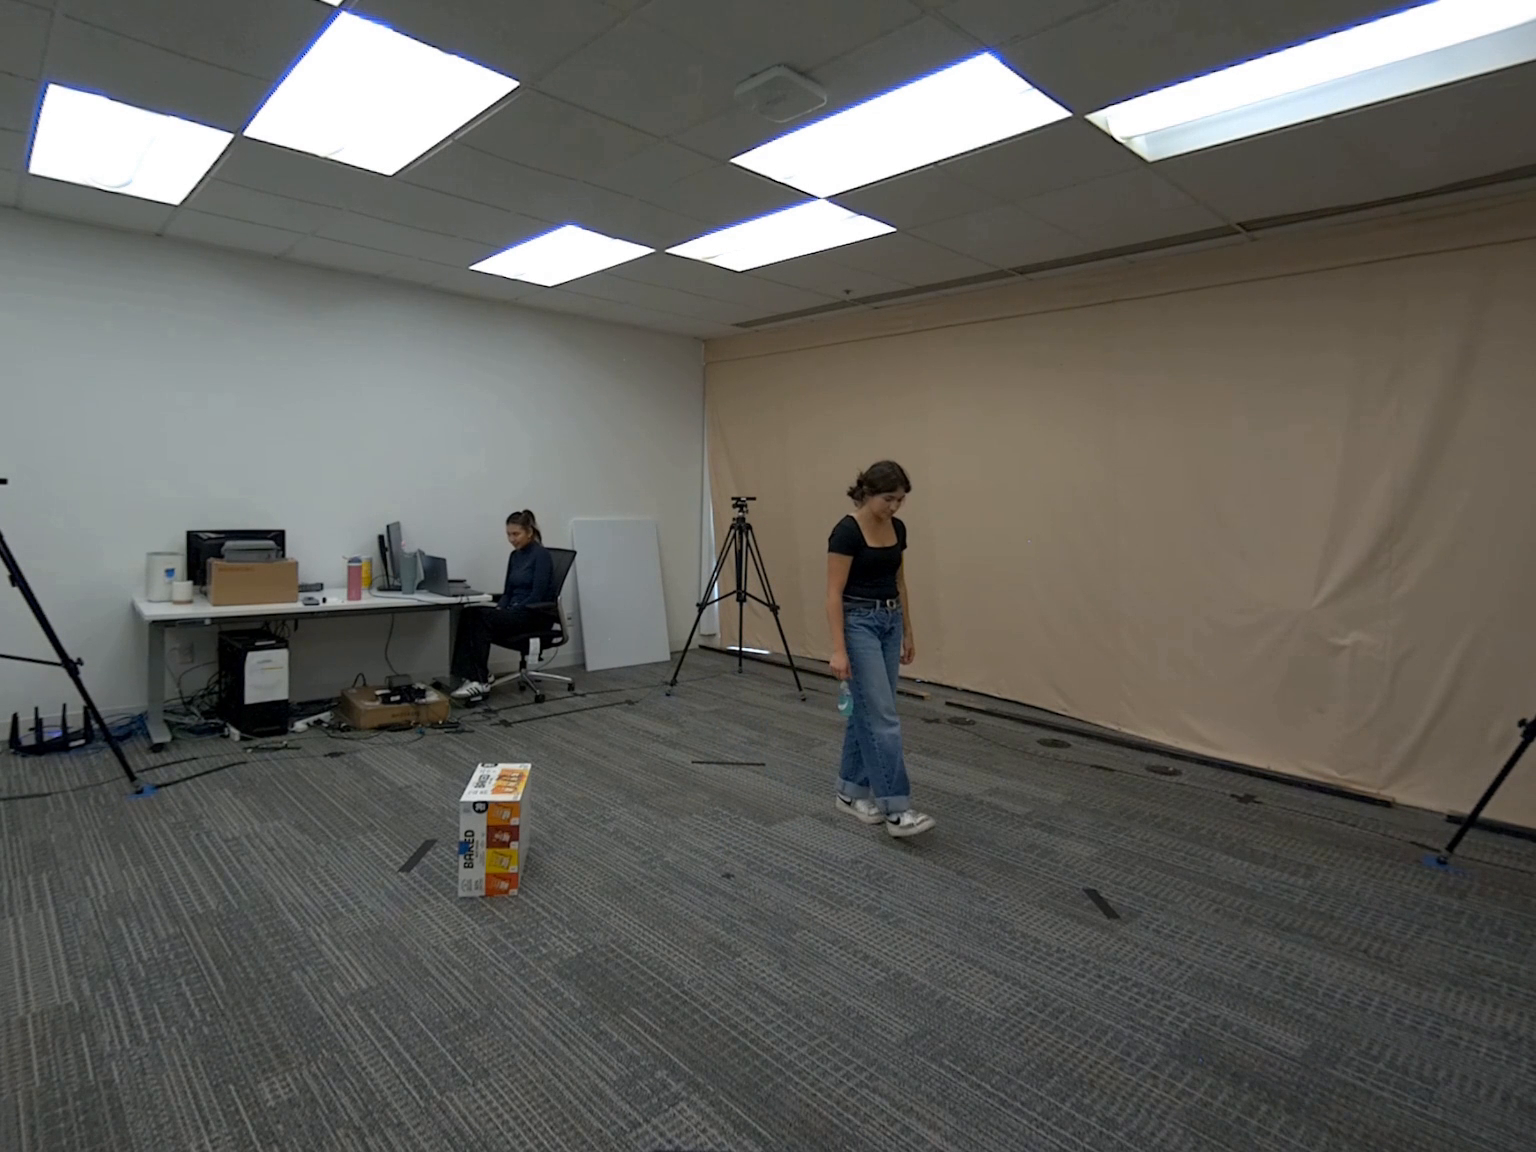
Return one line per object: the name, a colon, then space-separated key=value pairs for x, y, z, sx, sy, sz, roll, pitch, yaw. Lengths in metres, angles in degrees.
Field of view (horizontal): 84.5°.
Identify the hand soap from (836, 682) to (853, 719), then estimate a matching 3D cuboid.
hand soap: x=0.315 y=0.488 z=3.453 sx=0.043 sy=0.168 sz=0.086 roll=0 pitch=0 yaw=-21
